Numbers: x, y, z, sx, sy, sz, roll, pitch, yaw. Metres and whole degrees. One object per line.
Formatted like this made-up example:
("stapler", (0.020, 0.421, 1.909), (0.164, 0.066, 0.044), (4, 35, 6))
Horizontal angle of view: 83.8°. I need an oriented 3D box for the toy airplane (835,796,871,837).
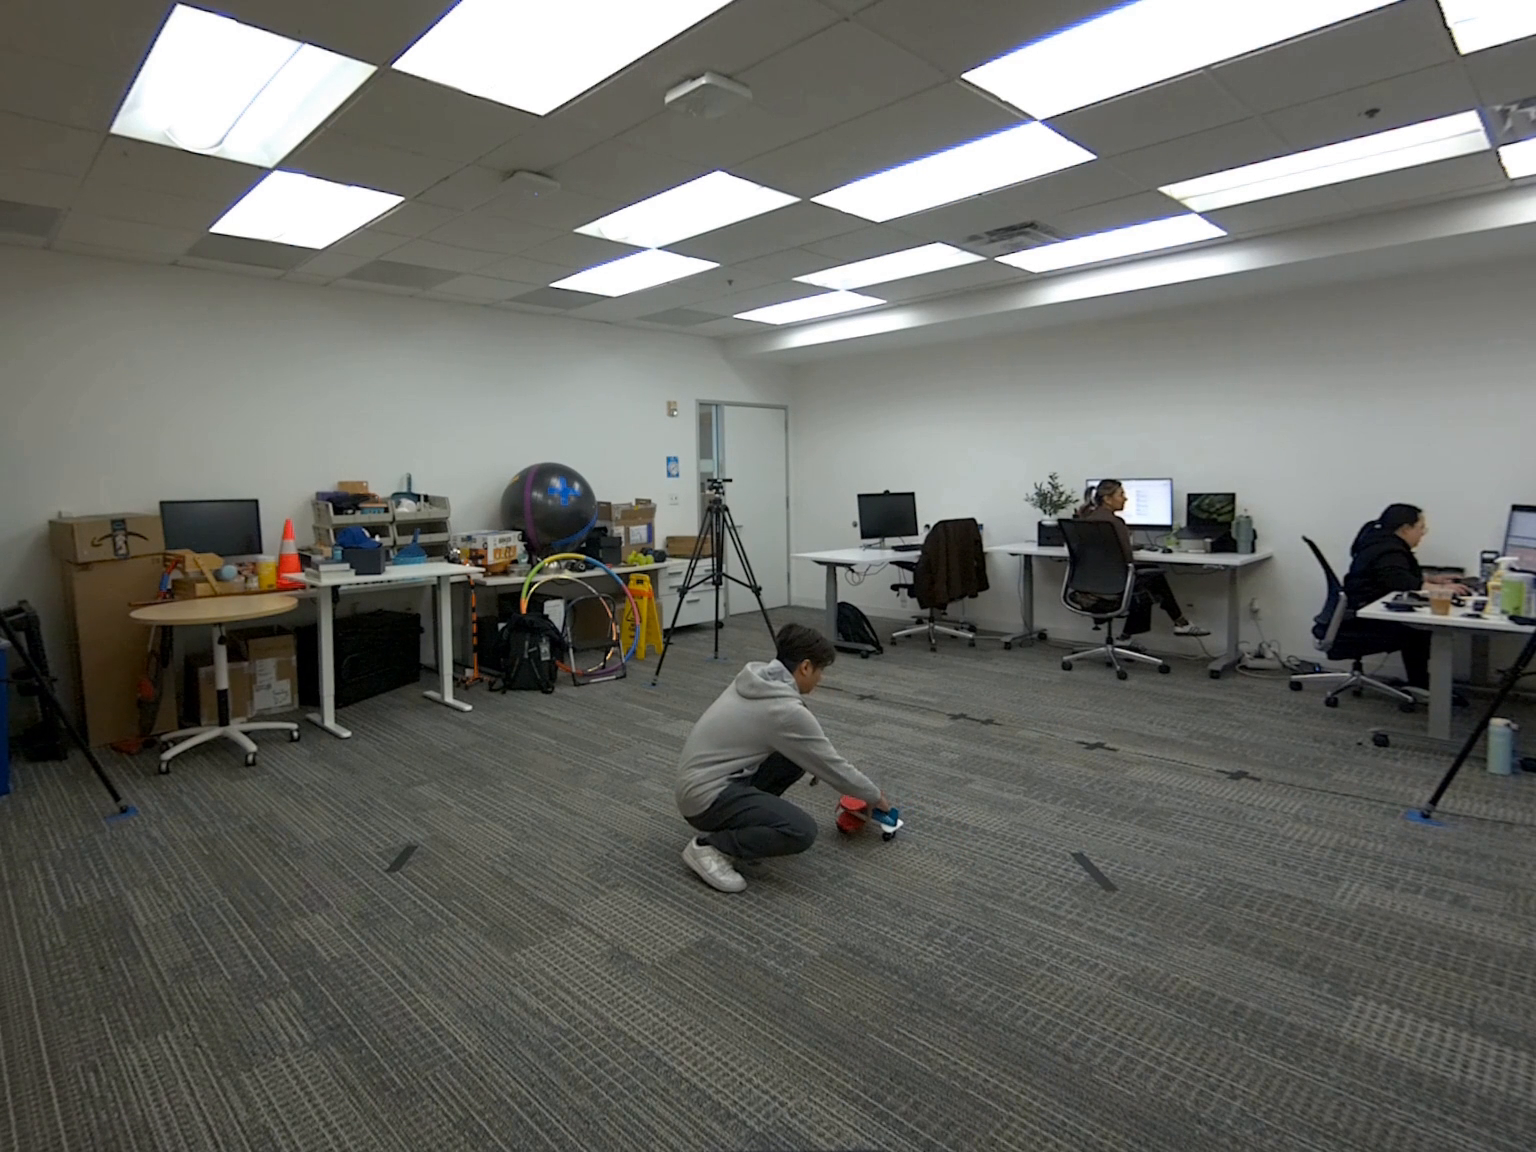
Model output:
("toy airplane", (0.396, 0.929, 3.364), (0.262, 0.156, 0.249), (-1, 5, 10))
